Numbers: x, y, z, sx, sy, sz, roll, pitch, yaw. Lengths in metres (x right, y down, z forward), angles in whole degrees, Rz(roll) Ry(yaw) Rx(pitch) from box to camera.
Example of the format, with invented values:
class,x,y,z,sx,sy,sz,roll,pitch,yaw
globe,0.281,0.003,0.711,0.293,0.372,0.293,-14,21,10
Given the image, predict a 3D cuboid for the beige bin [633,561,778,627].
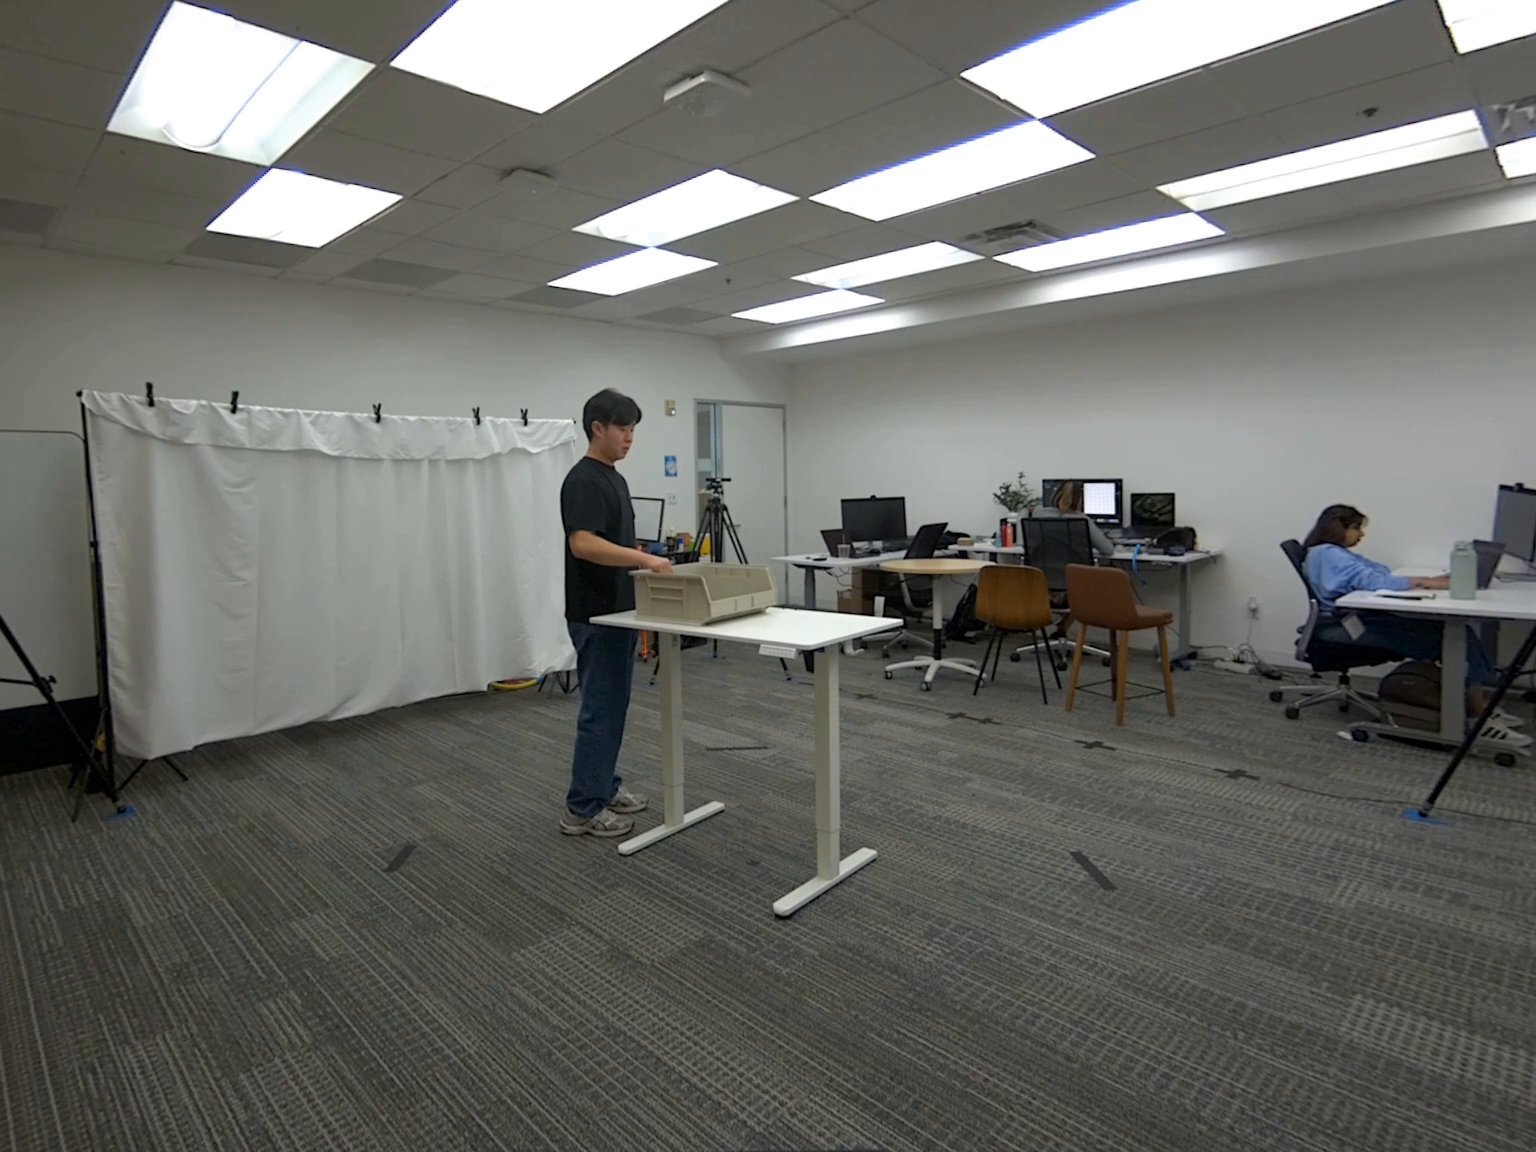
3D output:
class,x,y,z,sx,sy,sz,roll,pitch,yaw
beige bin,-0.232,0.065,3.200,0.388,0.188,0.412,2,6,36
